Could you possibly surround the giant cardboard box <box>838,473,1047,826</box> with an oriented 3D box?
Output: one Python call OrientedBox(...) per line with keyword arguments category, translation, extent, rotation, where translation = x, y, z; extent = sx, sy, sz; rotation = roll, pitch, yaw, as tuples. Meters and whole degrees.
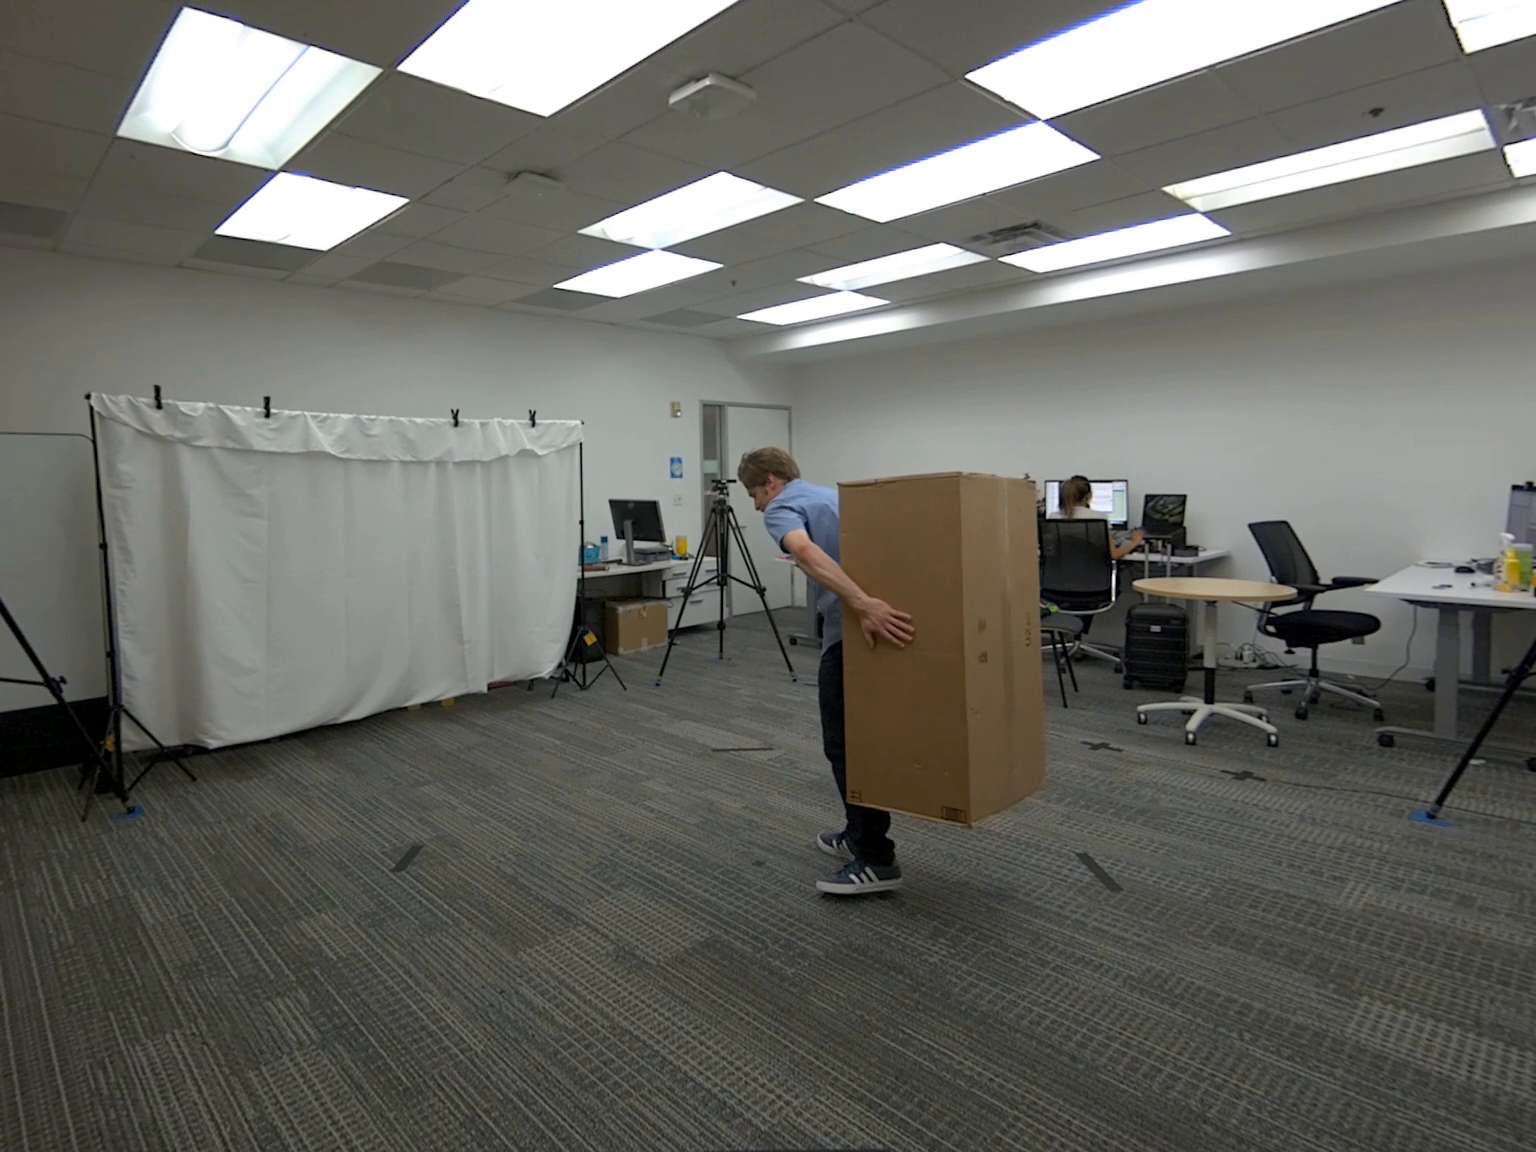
OrientedBox(category="giant cardboard box", translation=(0.577, 0.203, 2.778), extent=(0.459, 1.028, 0.567), rotation=(-2, -1, 39))
